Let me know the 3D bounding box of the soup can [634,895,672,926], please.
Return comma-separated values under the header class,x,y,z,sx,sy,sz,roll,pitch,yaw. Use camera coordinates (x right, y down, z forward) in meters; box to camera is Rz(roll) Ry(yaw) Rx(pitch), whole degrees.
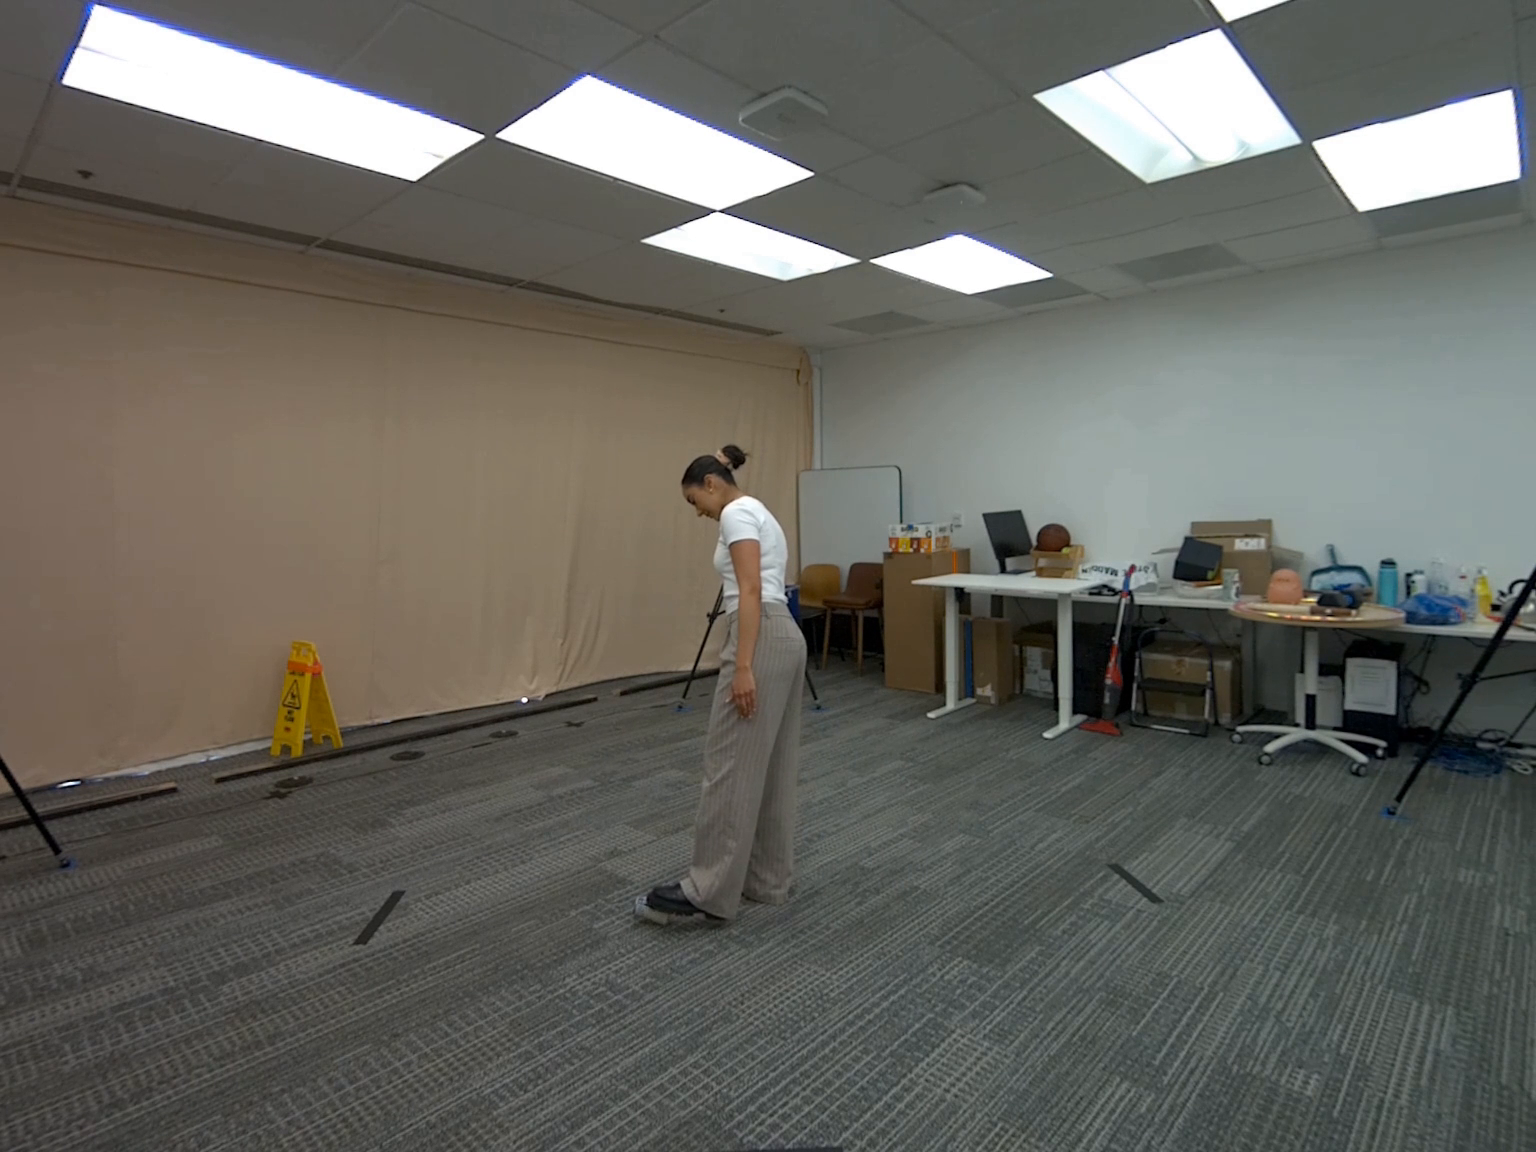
class,x,y,z,sx,sy,sz,roll,pitch,yaw
soup can,-0.383,1.120,2.817,0.122,0.067,0.067,11,4,3
